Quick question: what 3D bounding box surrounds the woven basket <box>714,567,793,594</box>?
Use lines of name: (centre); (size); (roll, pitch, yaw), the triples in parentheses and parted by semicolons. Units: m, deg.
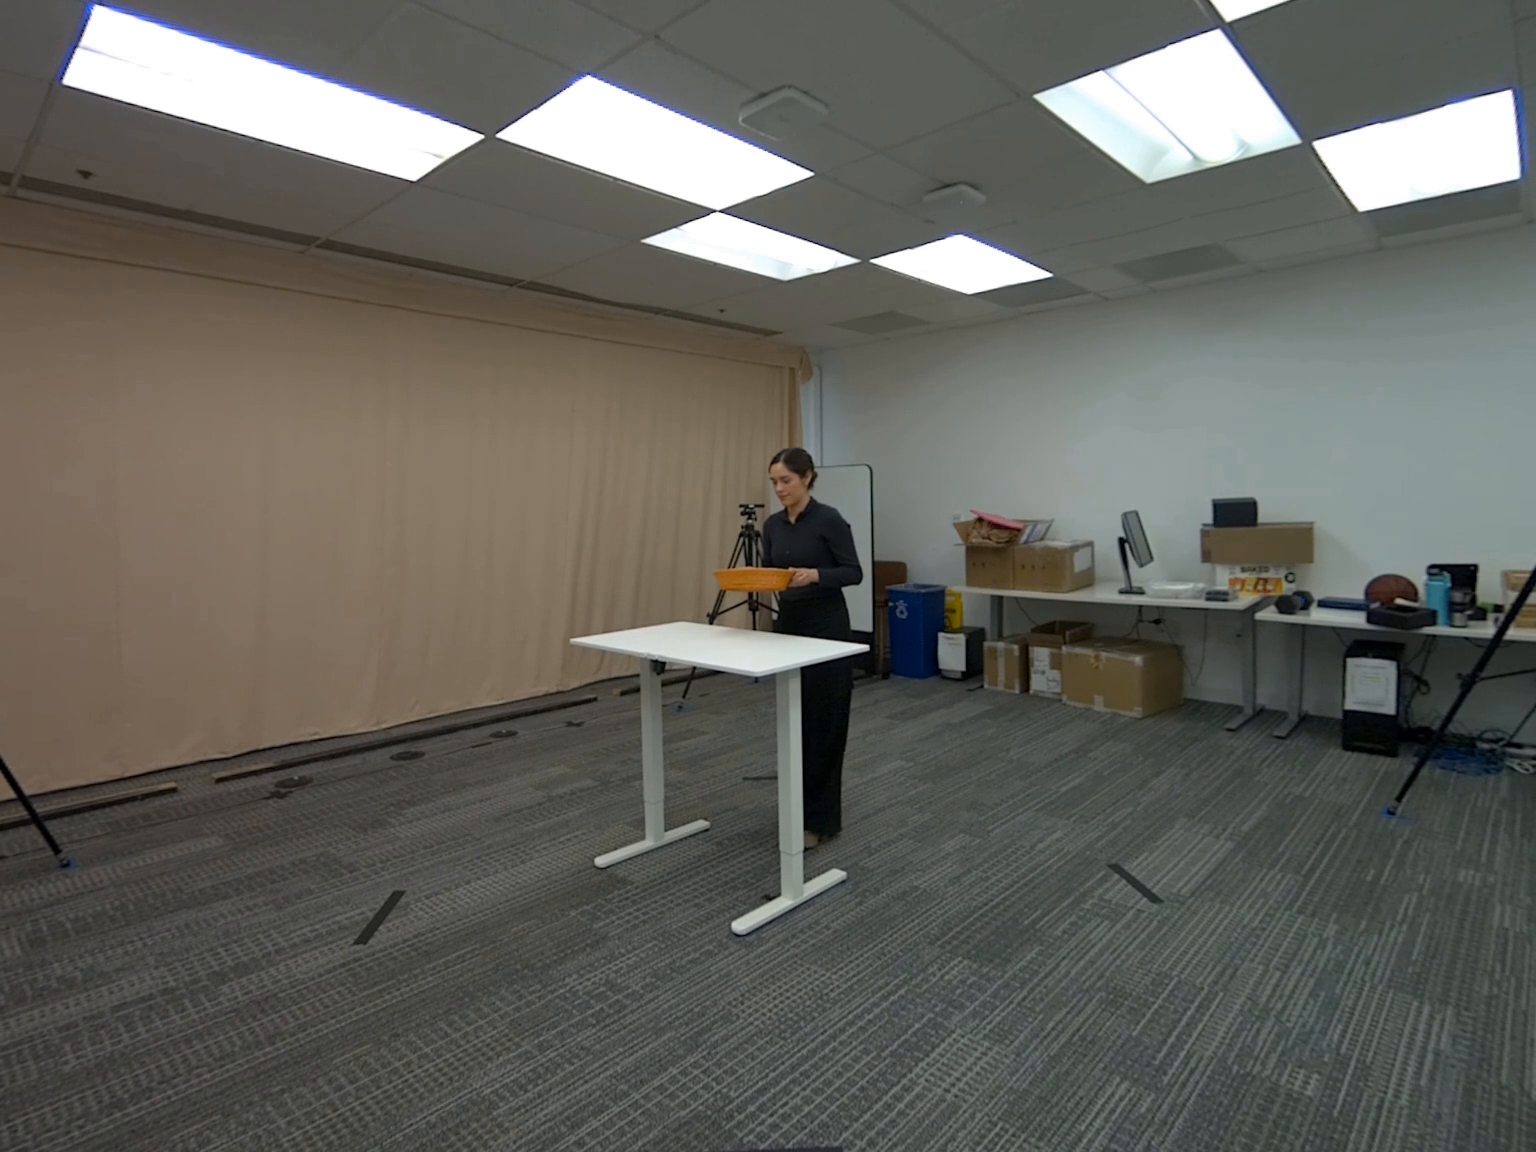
woven basket: (-0.043, 0.019, 3.370); (0.244, 0.073, 0.361); (4, -5, -38)
